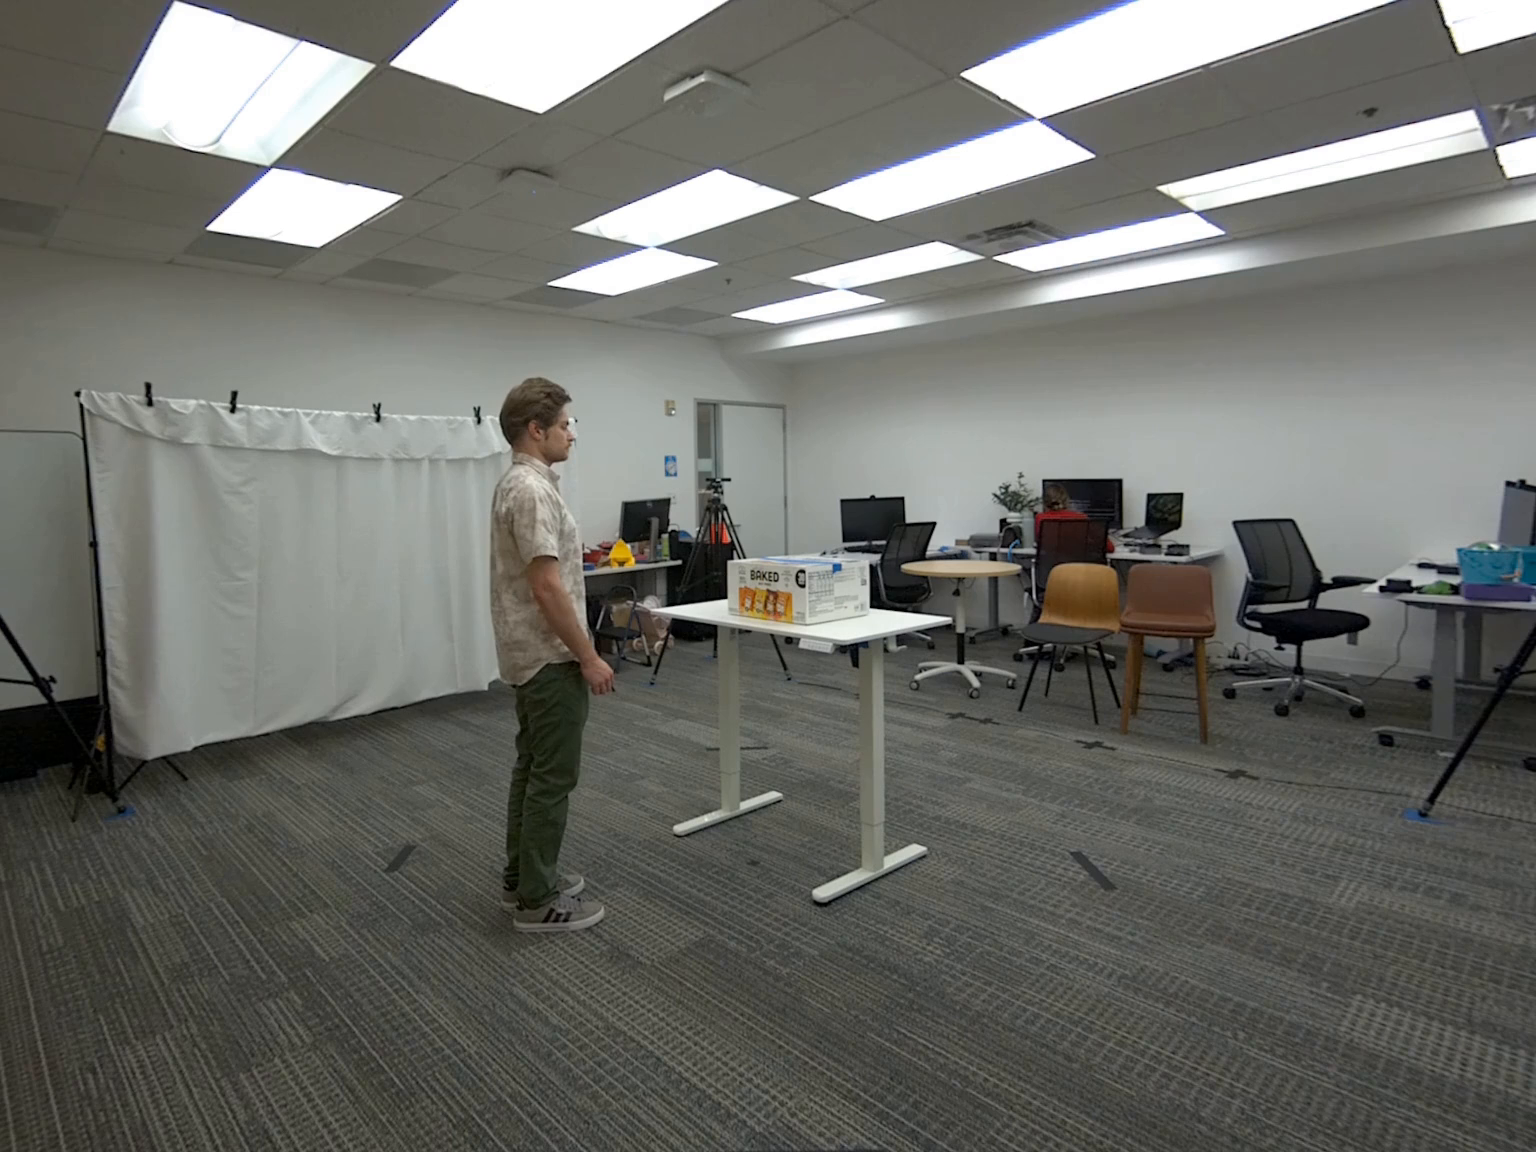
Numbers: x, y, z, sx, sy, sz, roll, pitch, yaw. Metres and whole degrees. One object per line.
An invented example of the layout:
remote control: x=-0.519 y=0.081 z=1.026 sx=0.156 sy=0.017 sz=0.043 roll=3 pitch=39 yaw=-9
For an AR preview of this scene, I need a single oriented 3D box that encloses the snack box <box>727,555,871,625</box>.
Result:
snack box: x=0.113 y=0.044 z=3.185 sx=0.331 sy=0.205 sz=0.417 roll=-6 pitch=7 yaw=-43
